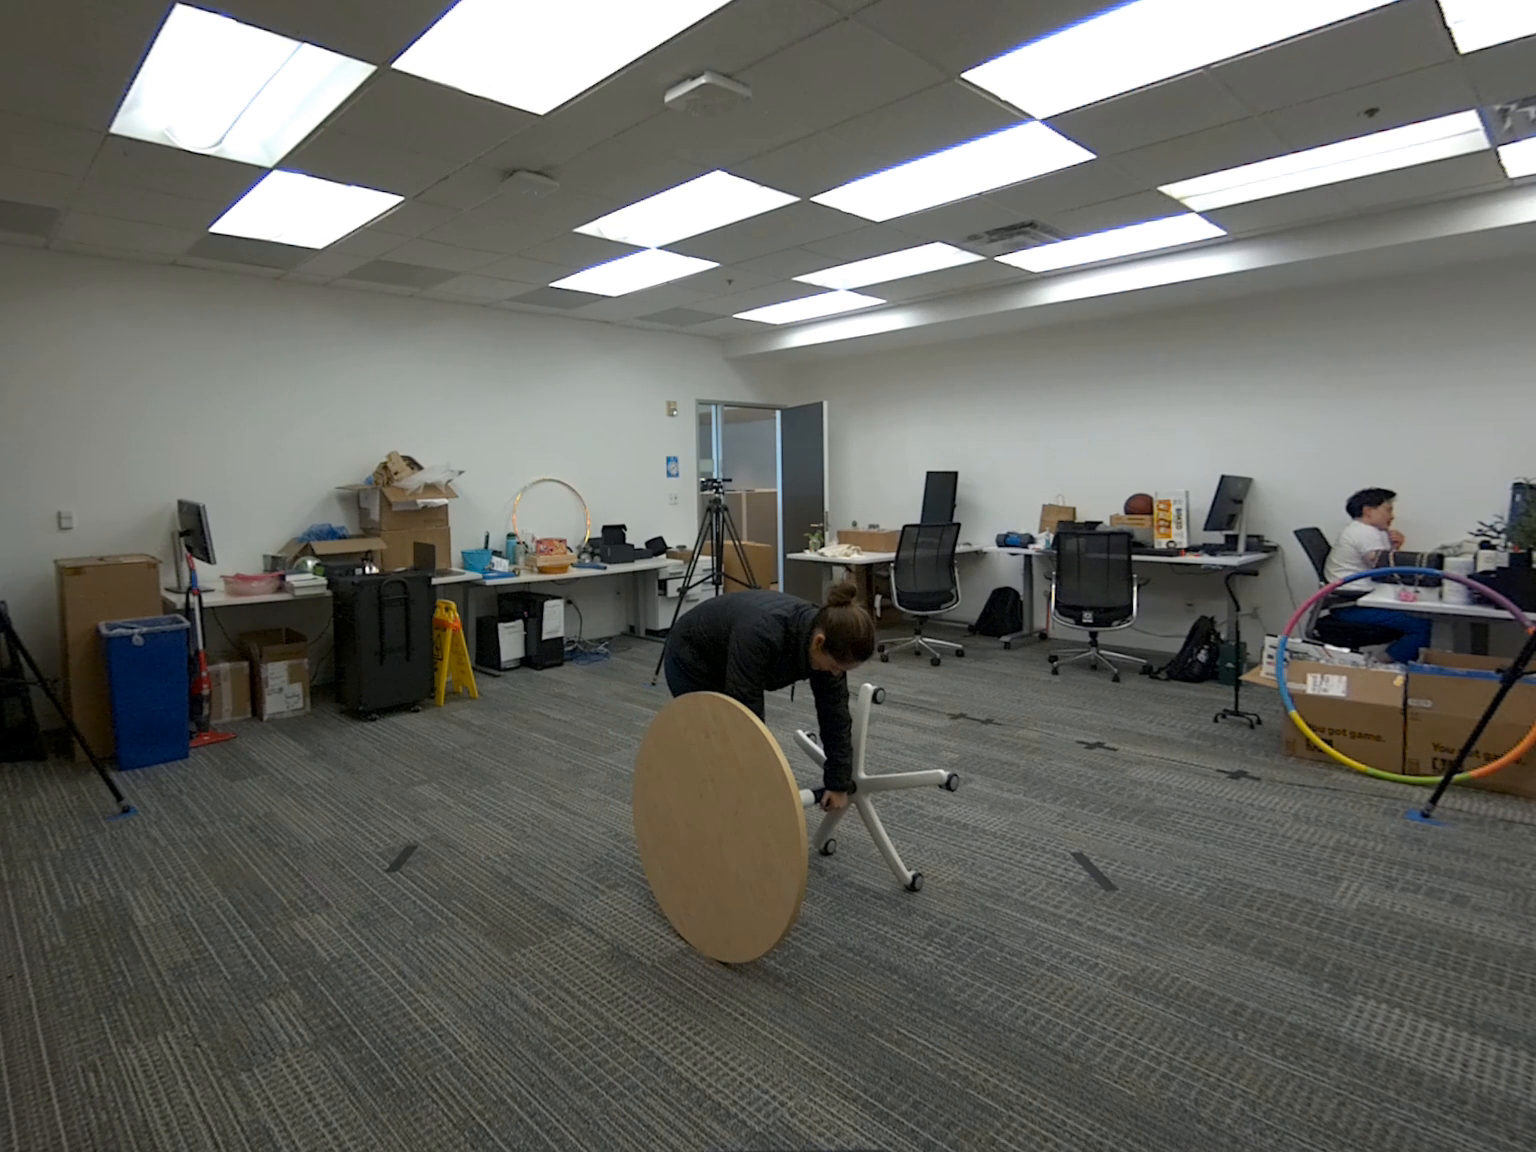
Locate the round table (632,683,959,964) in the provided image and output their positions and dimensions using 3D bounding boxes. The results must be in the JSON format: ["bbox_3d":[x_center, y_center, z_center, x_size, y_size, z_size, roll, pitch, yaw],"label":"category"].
[{"bbox_3d":[0.096,0.739,2.812,0.763,0.785,0.809,2,1,-44],"label":"round table"}]
